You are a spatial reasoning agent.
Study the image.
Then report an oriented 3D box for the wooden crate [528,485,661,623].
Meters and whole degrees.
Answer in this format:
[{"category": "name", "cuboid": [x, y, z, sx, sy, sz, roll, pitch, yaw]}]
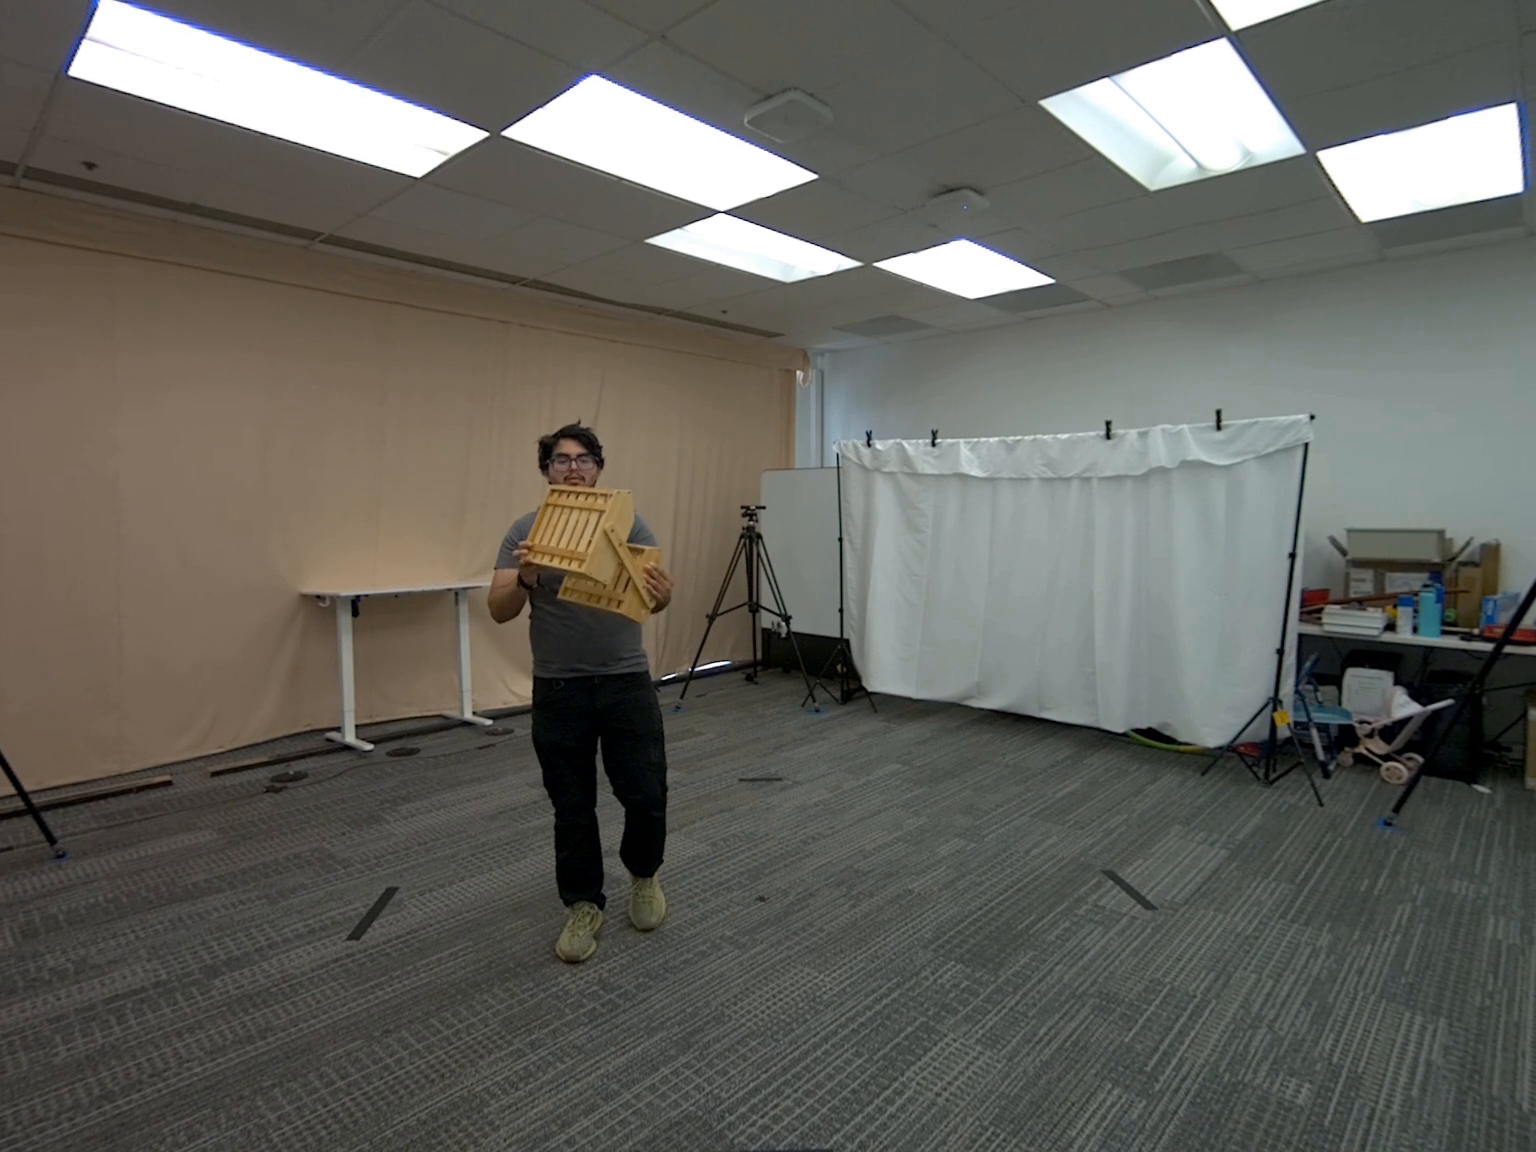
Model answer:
[{"category": "wooden crate", "cuboid": [-0.463, -0.069, 2.338, 0.336, 0.302, 0.263, 10, -17, 44]}]
